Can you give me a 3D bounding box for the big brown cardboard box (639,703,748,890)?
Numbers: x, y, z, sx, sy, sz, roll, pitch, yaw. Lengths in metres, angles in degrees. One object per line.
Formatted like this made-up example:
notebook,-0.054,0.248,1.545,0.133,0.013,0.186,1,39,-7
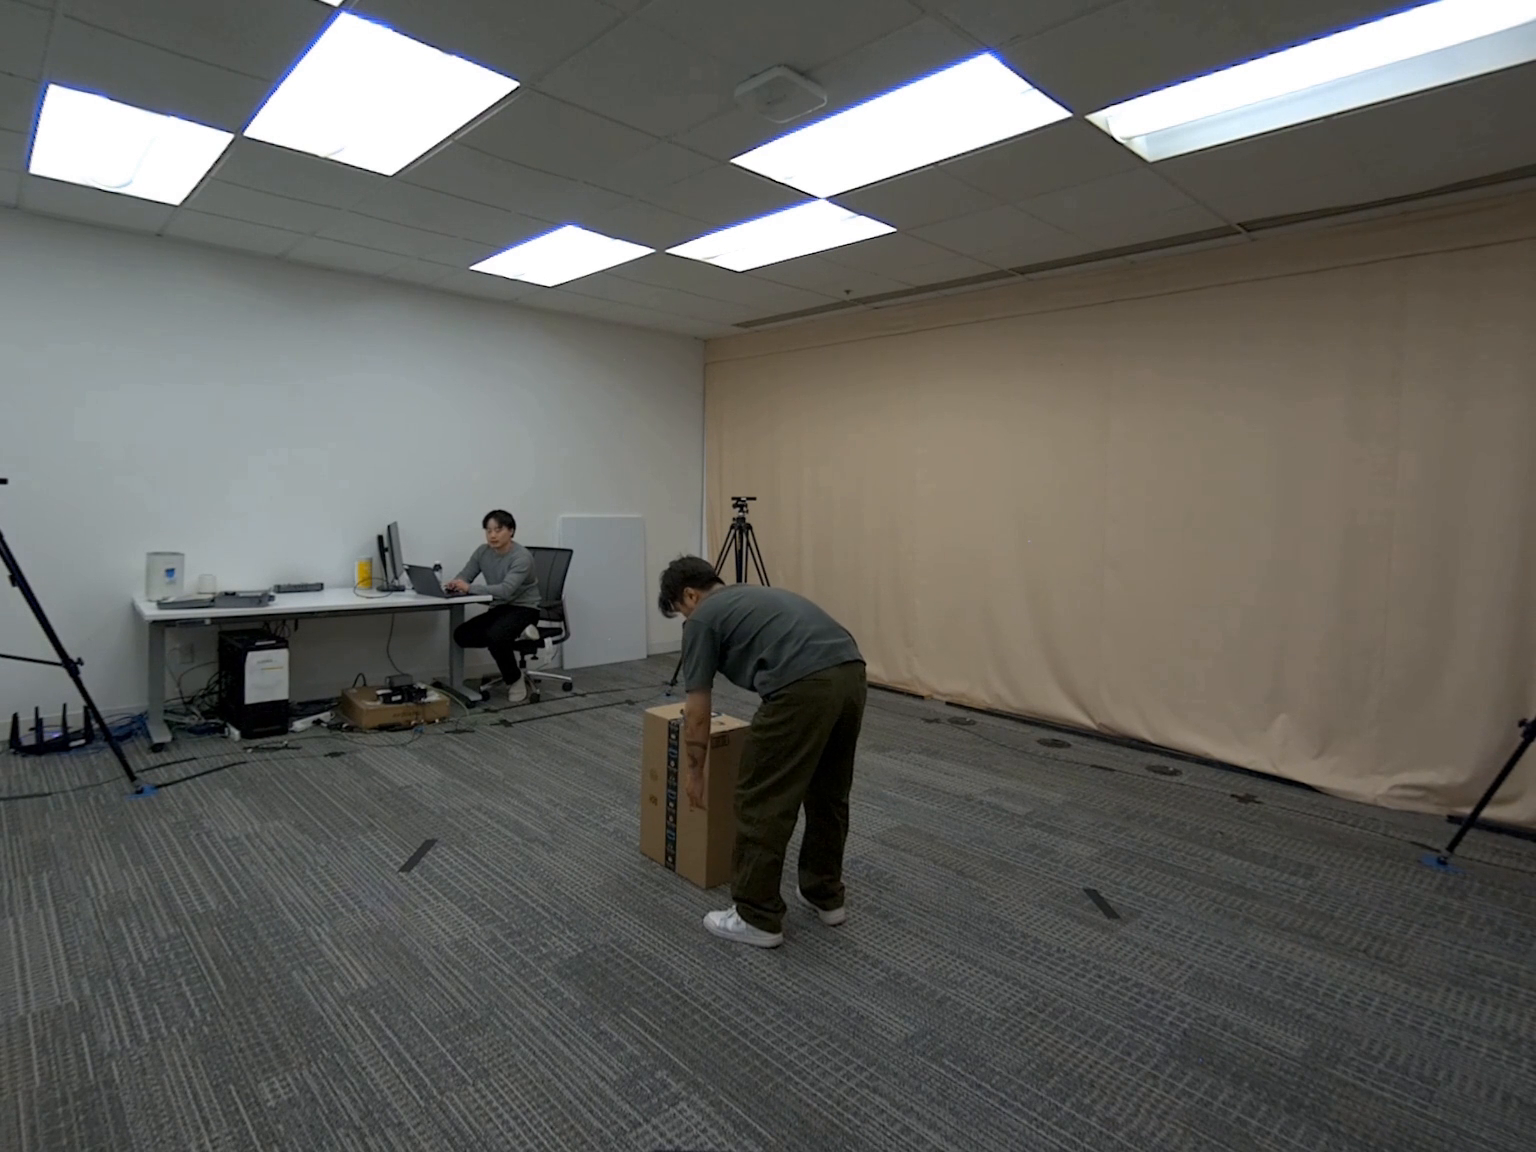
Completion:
big brown cardboard box,-0.281,0.809,3.191,0.228,0.587,0.428,0,5,-41
